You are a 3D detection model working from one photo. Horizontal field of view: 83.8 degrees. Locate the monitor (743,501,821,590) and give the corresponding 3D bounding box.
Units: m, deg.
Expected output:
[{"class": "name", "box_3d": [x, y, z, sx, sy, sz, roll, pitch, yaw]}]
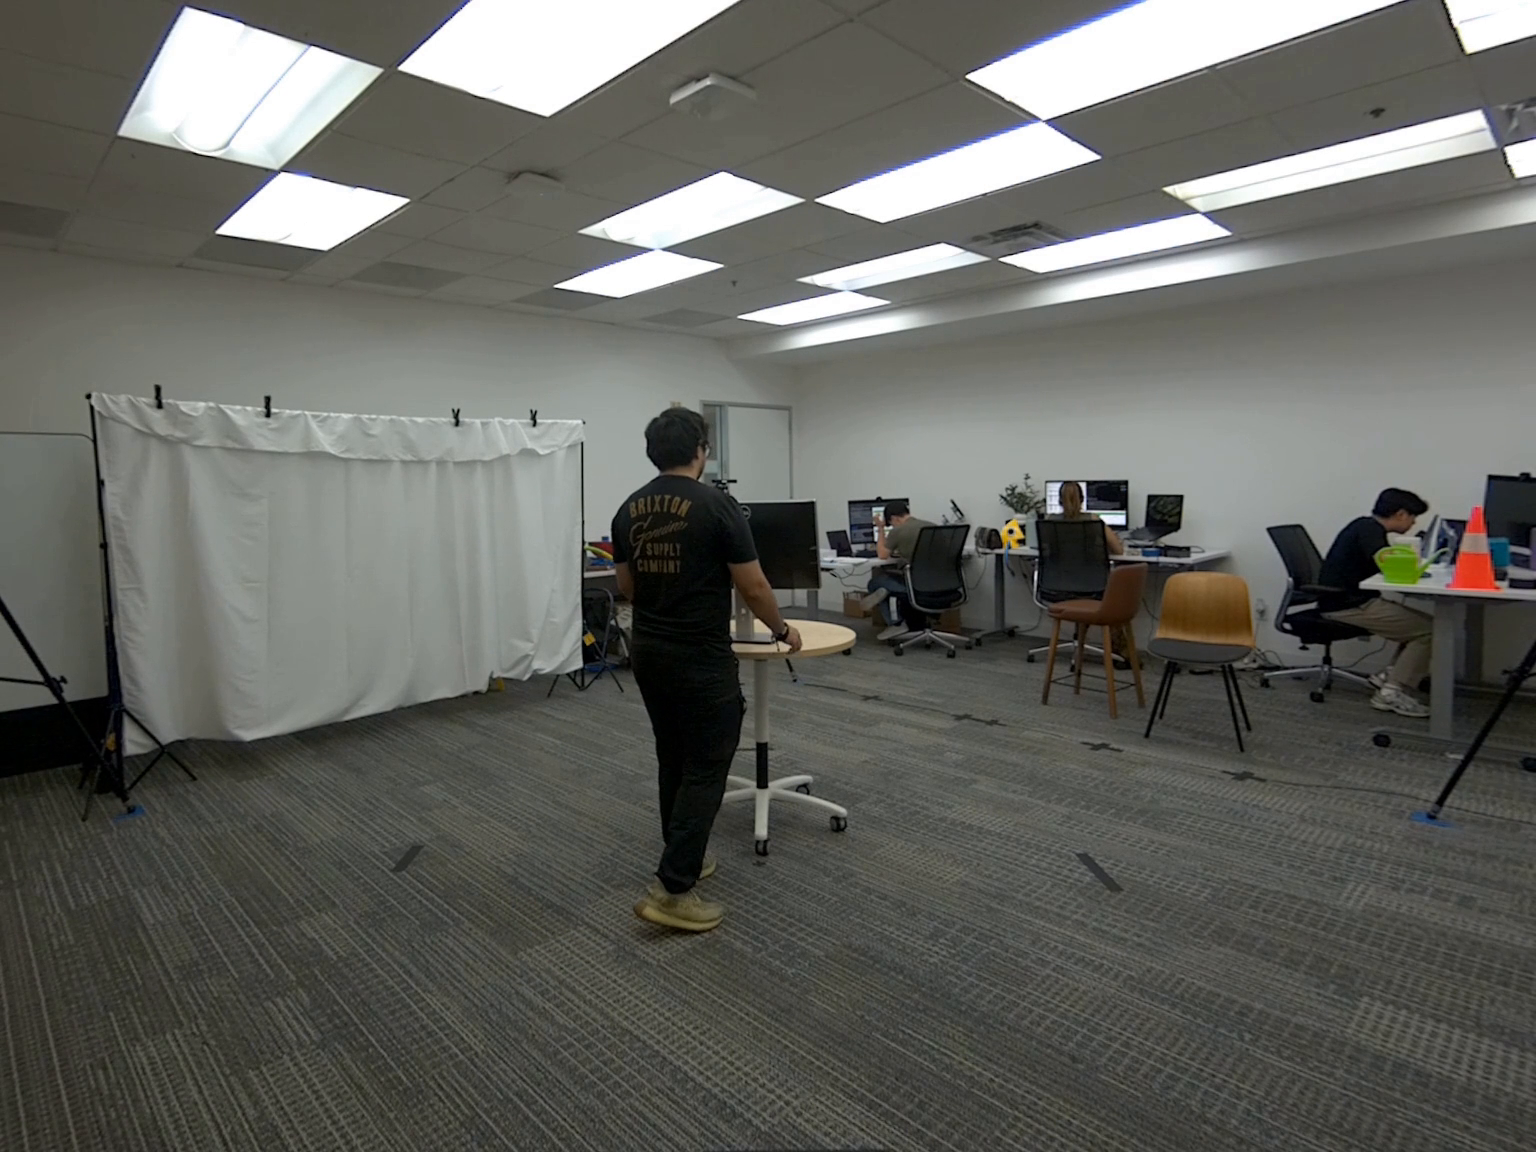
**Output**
[{"class": "monitor", "box_3d": [-0.089, -0.015, 3.314, 0.575, 0.549, 0.208, 1, 10, 17]}]
